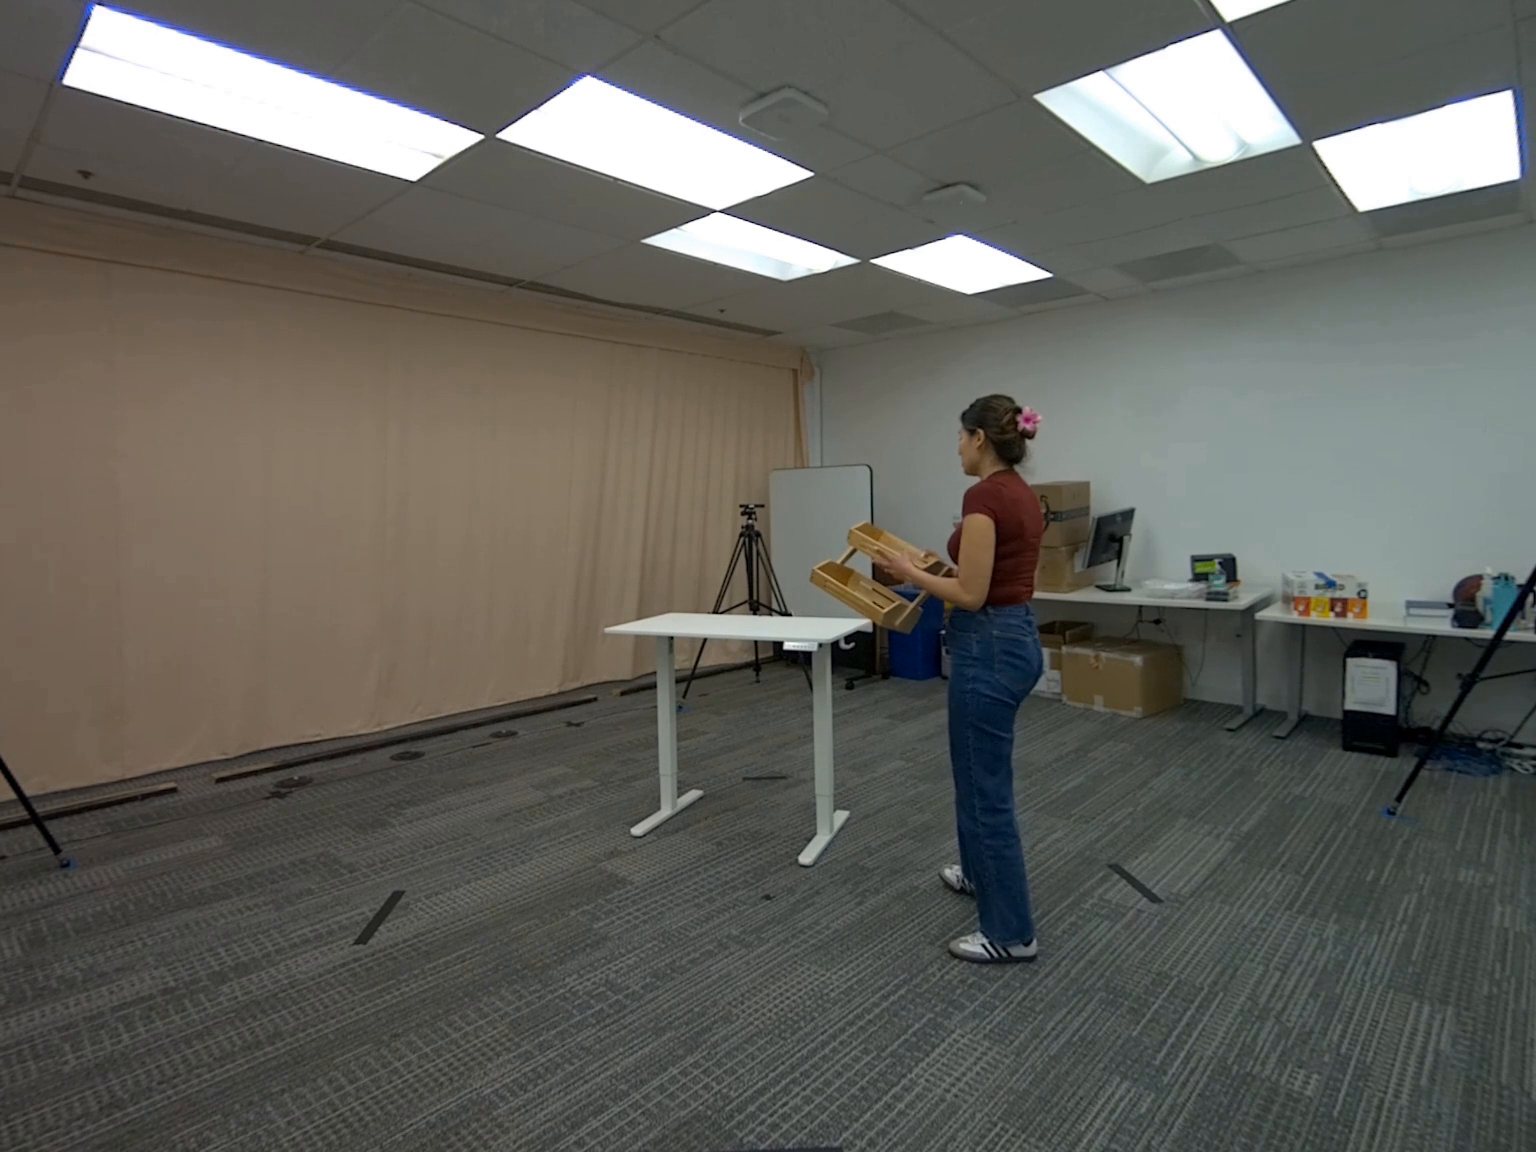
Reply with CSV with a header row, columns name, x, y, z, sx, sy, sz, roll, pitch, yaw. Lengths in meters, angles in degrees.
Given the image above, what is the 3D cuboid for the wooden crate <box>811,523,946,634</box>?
name,x,y,z,sx,sy,sz,roll,pitch,yaw
wooden crate,0.383,-0.006,2.793,0.336,0.273,0.291,34,8,35
